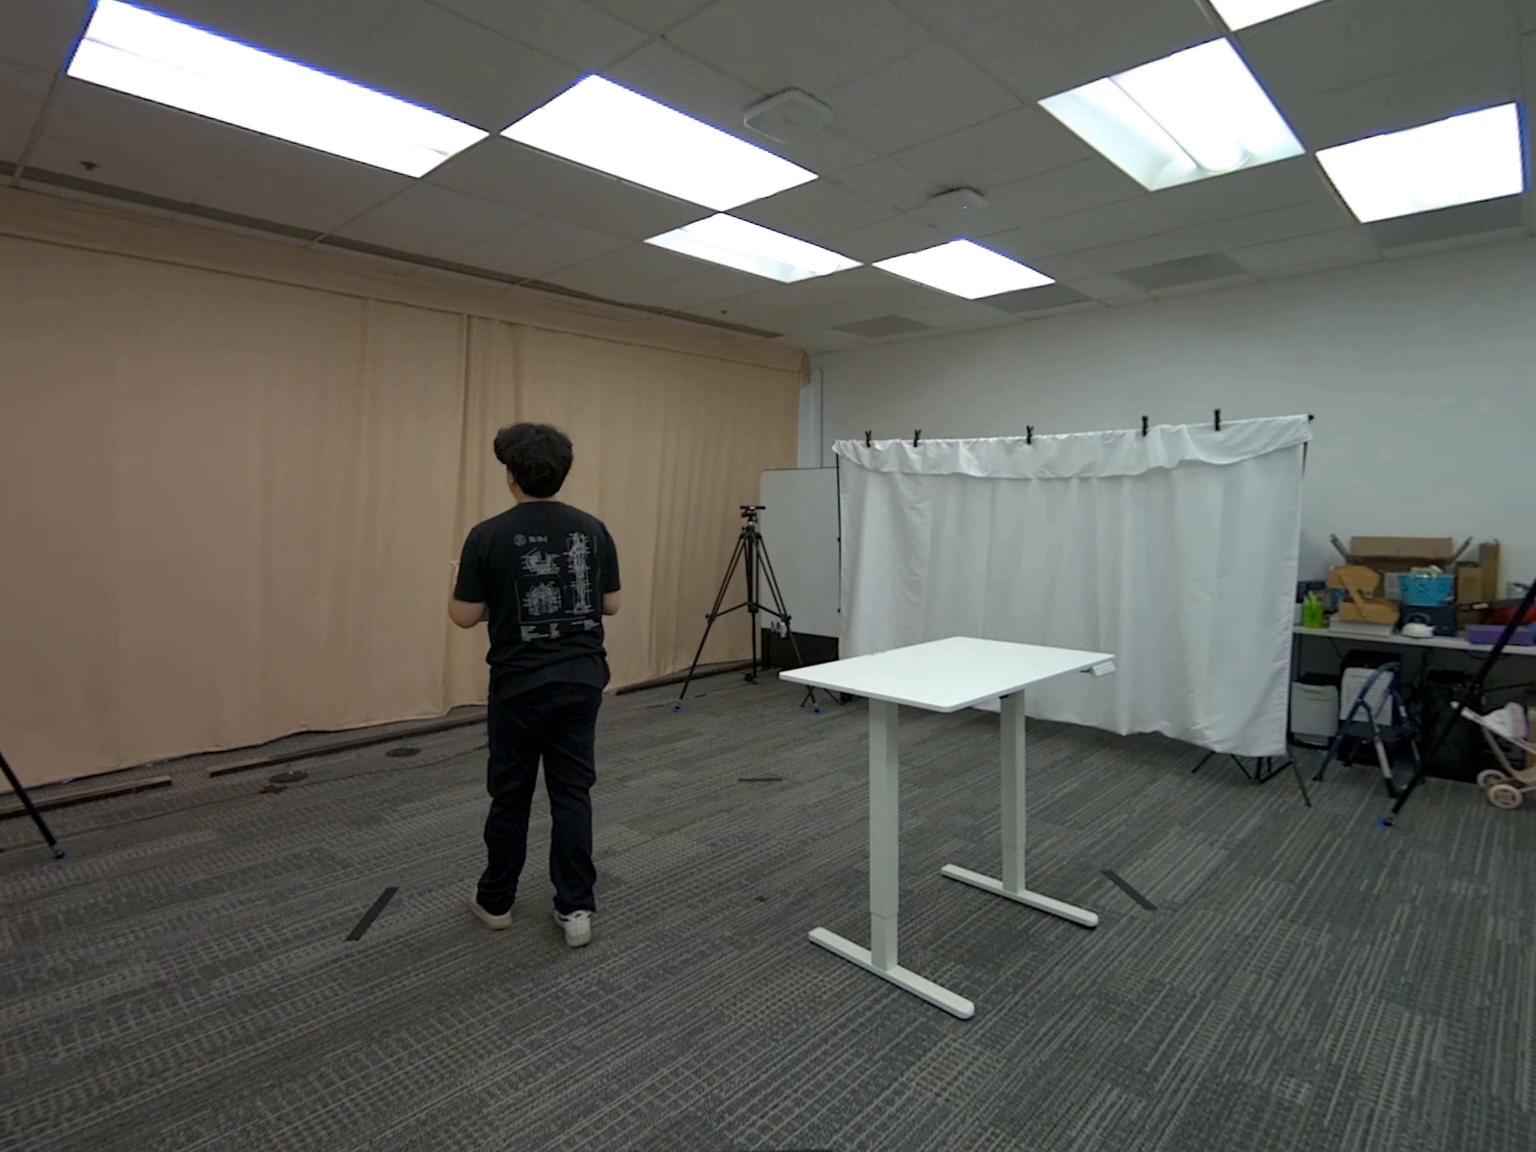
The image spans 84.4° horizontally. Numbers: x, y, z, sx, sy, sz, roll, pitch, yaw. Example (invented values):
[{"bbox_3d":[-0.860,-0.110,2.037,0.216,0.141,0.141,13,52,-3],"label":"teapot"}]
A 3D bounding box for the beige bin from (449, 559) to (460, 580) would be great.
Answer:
[{"bbox_3d":[-0.928,0.051,3.082,0.412,0.188,0.388,-4,9,-27],"label":"beige bin"}]
